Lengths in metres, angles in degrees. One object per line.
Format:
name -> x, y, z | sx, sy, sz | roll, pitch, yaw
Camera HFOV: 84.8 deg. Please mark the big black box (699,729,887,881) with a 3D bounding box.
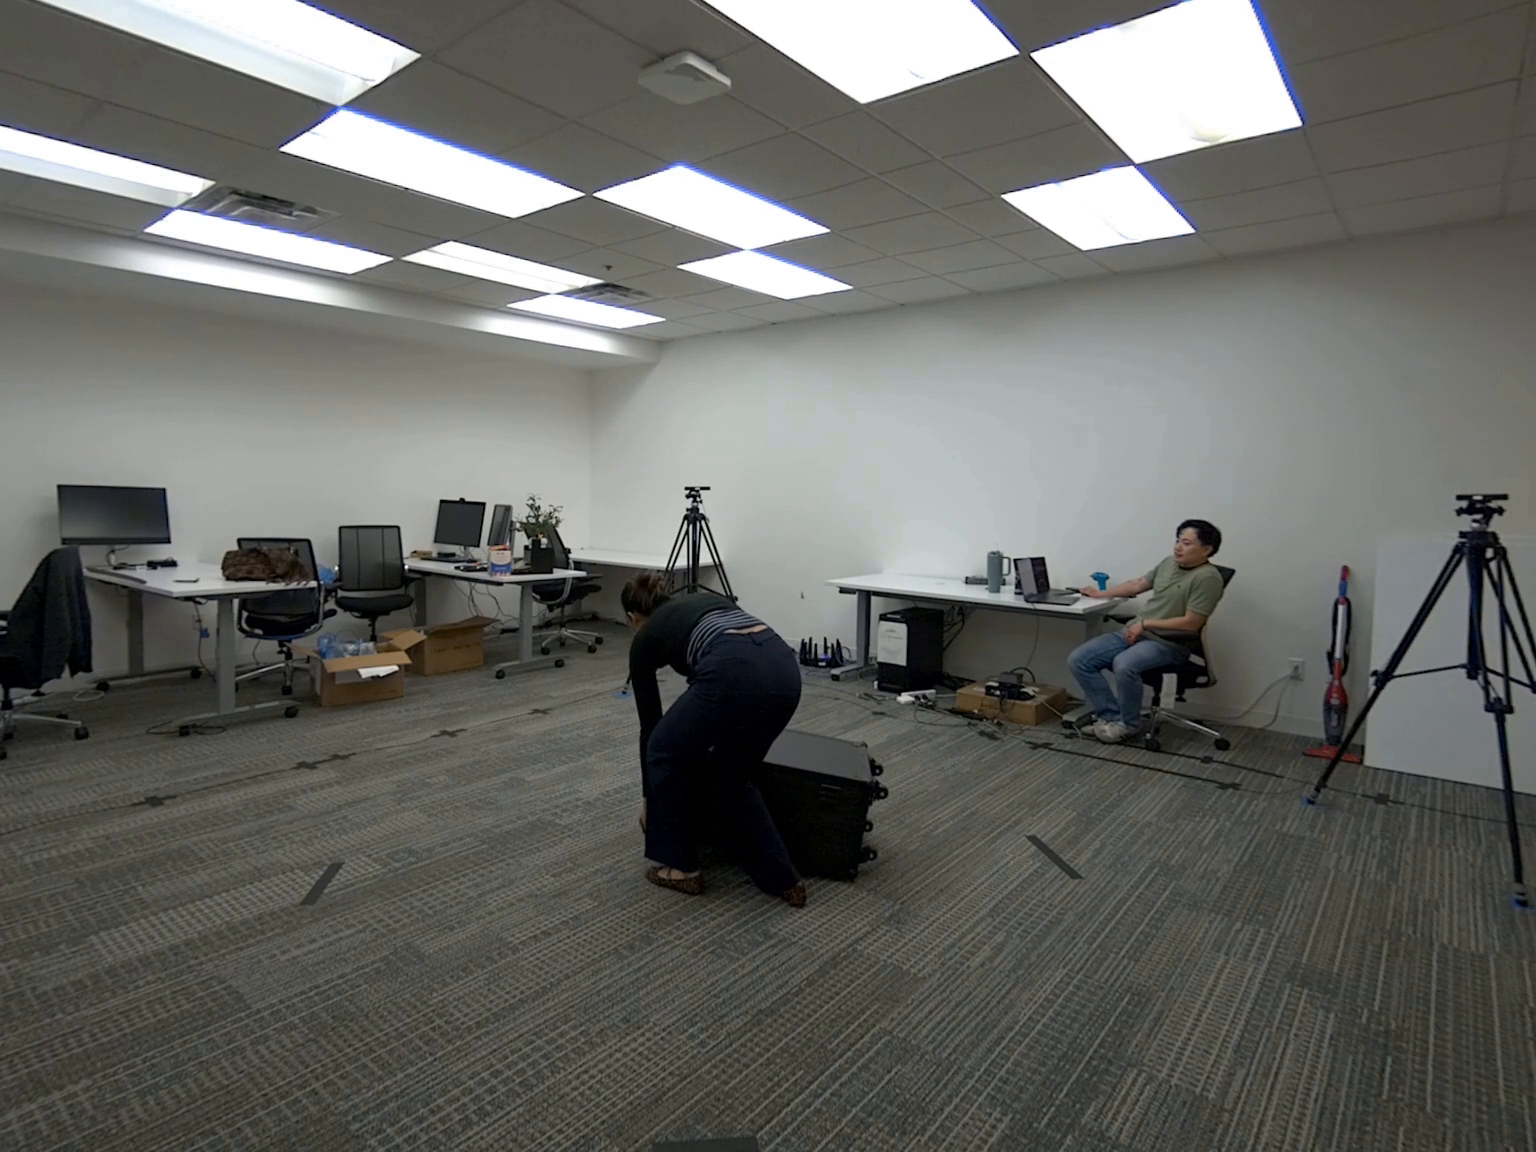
big black box -> -0.001, 0.818, 3.267 | 0.868, 0.395, 0.519 | 8, 6, 6
